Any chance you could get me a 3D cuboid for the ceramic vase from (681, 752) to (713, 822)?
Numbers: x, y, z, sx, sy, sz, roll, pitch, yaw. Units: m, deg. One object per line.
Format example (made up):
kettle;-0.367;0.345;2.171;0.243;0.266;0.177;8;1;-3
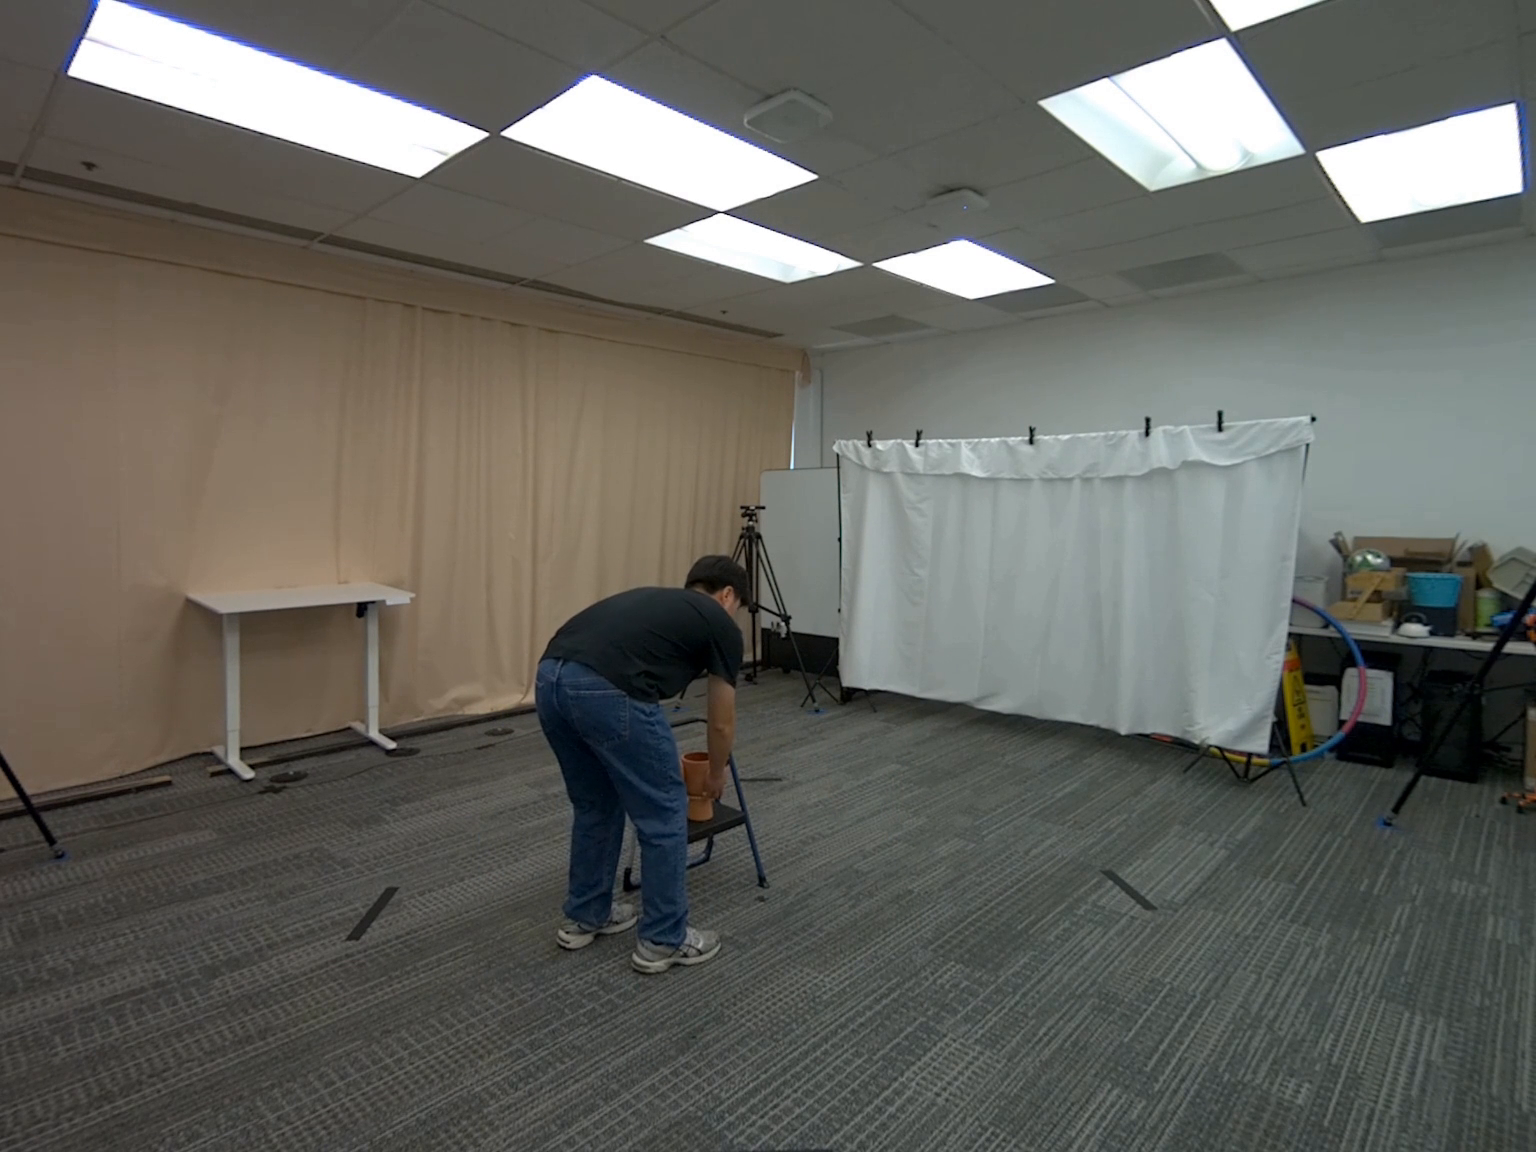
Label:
ceramic vase;-0.244;0.767;3.063;0.164;0.219;0.131;6;8;33
